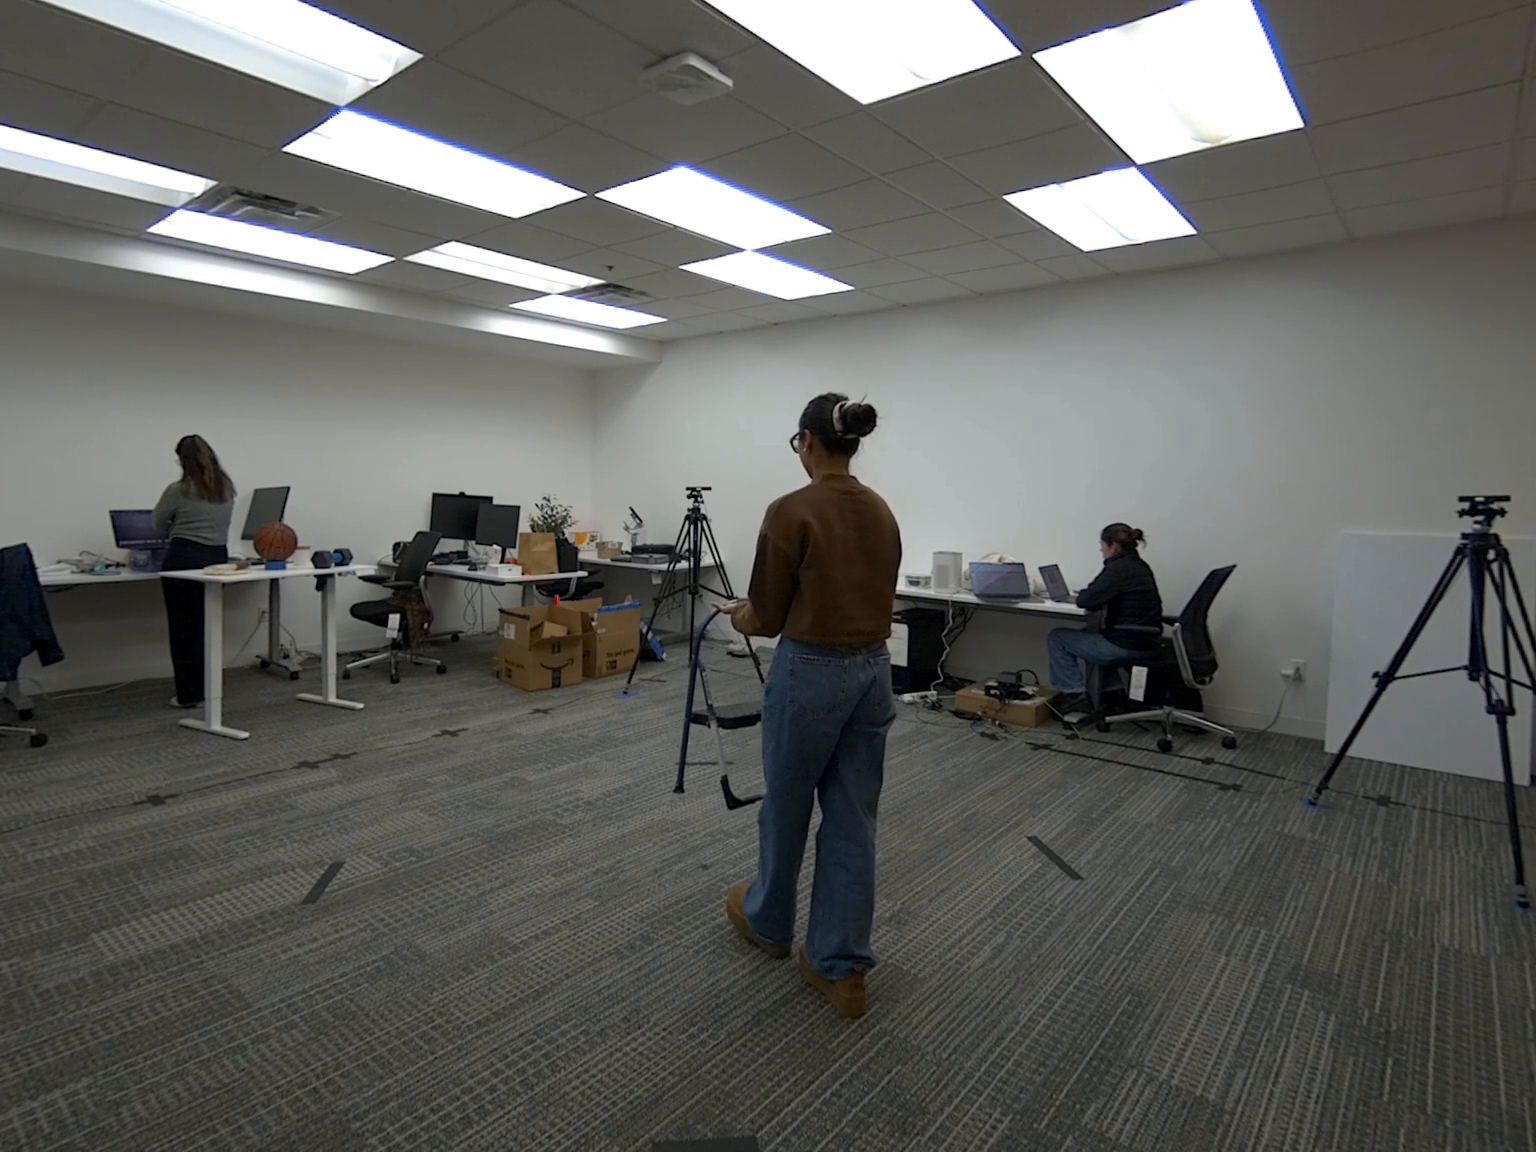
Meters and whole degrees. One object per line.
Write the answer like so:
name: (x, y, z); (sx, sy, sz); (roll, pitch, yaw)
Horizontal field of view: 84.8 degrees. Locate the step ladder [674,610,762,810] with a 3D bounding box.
step ladder: (-0.073, 0.376, 2.736); (0.419, 0.608, 0.358); (-4, -2, -35)
